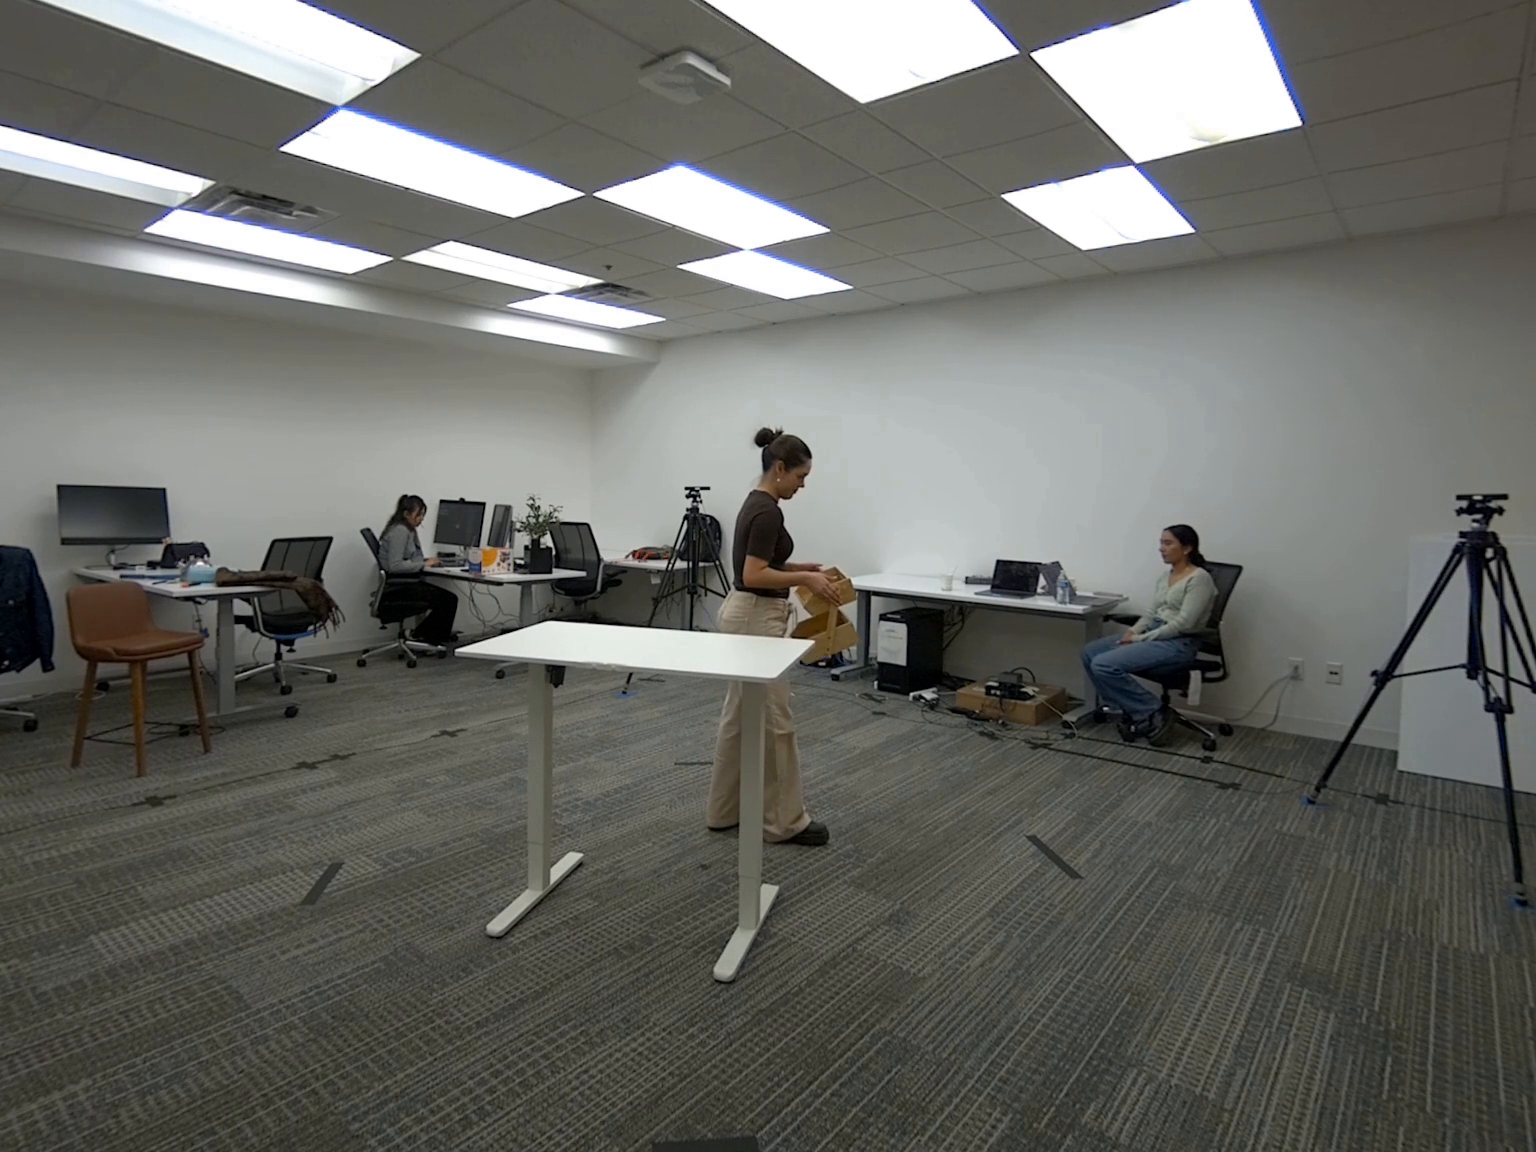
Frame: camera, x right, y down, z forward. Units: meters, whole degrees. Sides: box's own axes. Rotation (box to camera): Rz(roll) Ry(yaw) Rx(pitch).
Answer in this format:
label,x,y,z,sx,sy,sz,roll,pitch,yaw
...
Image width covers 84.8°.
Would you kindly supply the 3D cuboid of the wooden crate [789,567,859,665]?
label,x,y,z,sx,sy,sz,roll,pitch,yaw
wooden crate,0.195,0.152,3.456,0.302,0.270,0.328,-22,10,-1
